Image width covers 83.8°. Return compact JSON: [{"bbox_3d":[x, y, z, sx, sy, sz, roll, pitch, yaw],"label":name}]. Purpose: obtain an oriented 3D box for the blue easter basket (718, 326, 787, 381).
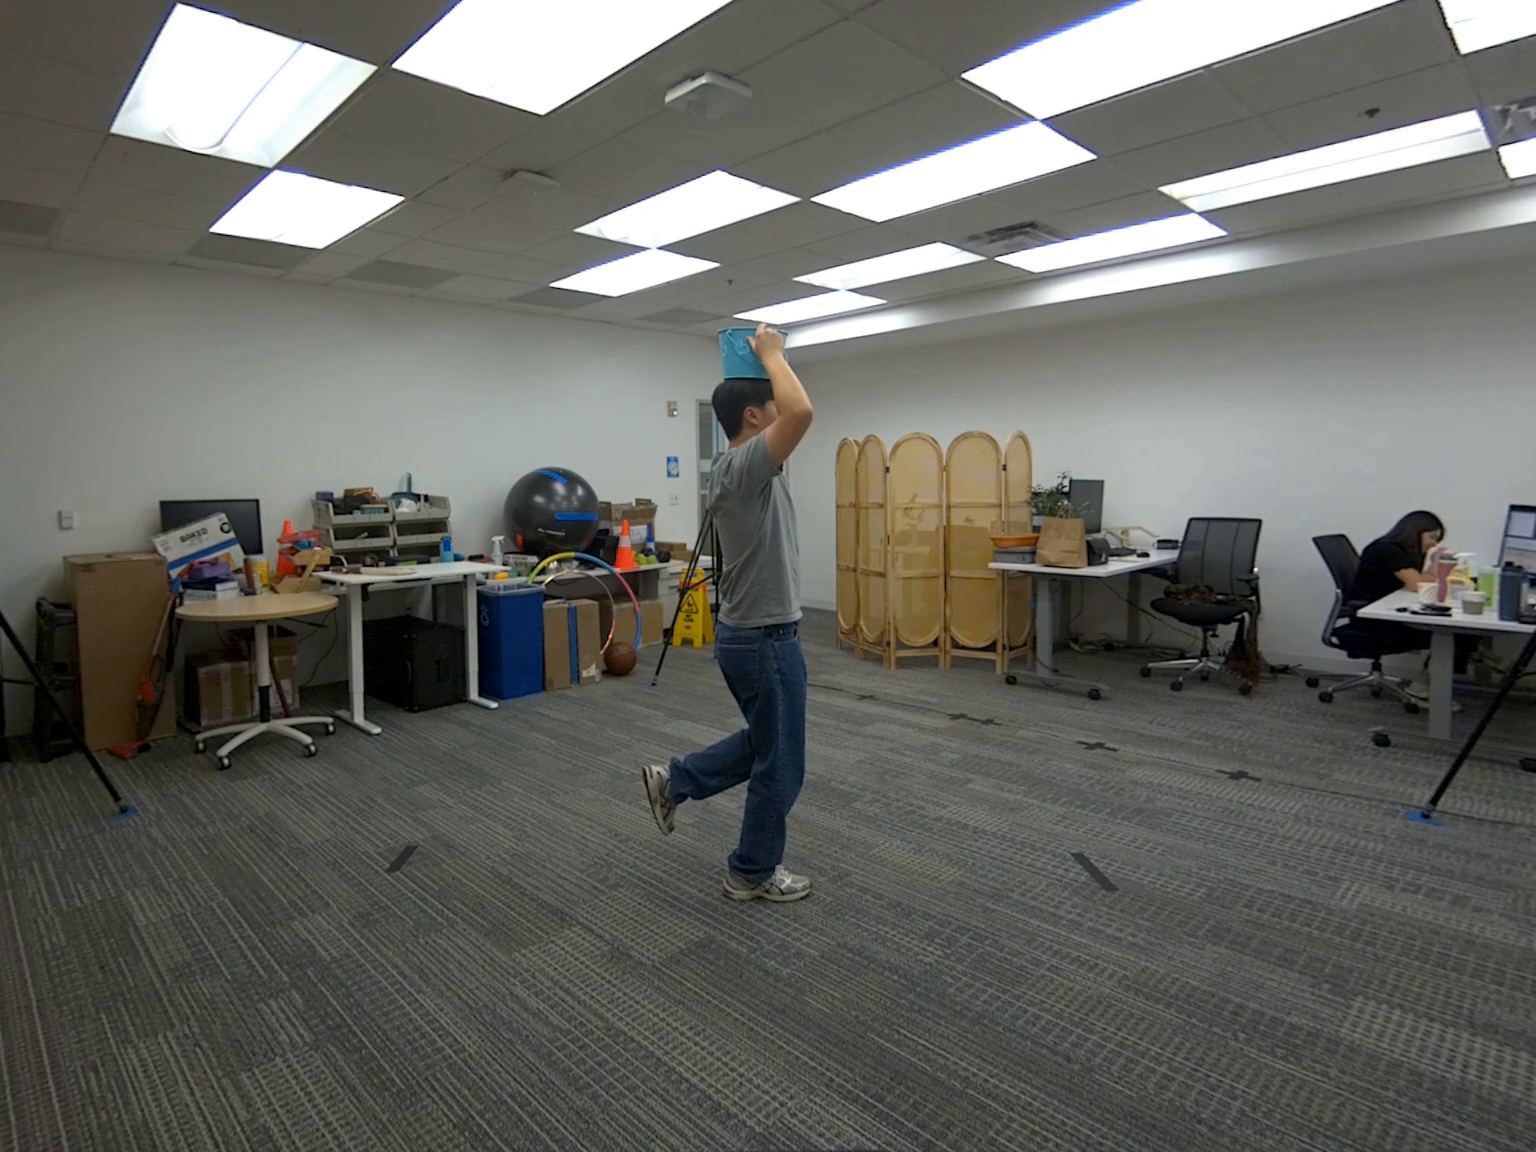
[{"bbox_3d":[-0.048,-0.715,2.775,0.243,0.155,0.245,0,5,-2],"label":"blue easter basket"}]
